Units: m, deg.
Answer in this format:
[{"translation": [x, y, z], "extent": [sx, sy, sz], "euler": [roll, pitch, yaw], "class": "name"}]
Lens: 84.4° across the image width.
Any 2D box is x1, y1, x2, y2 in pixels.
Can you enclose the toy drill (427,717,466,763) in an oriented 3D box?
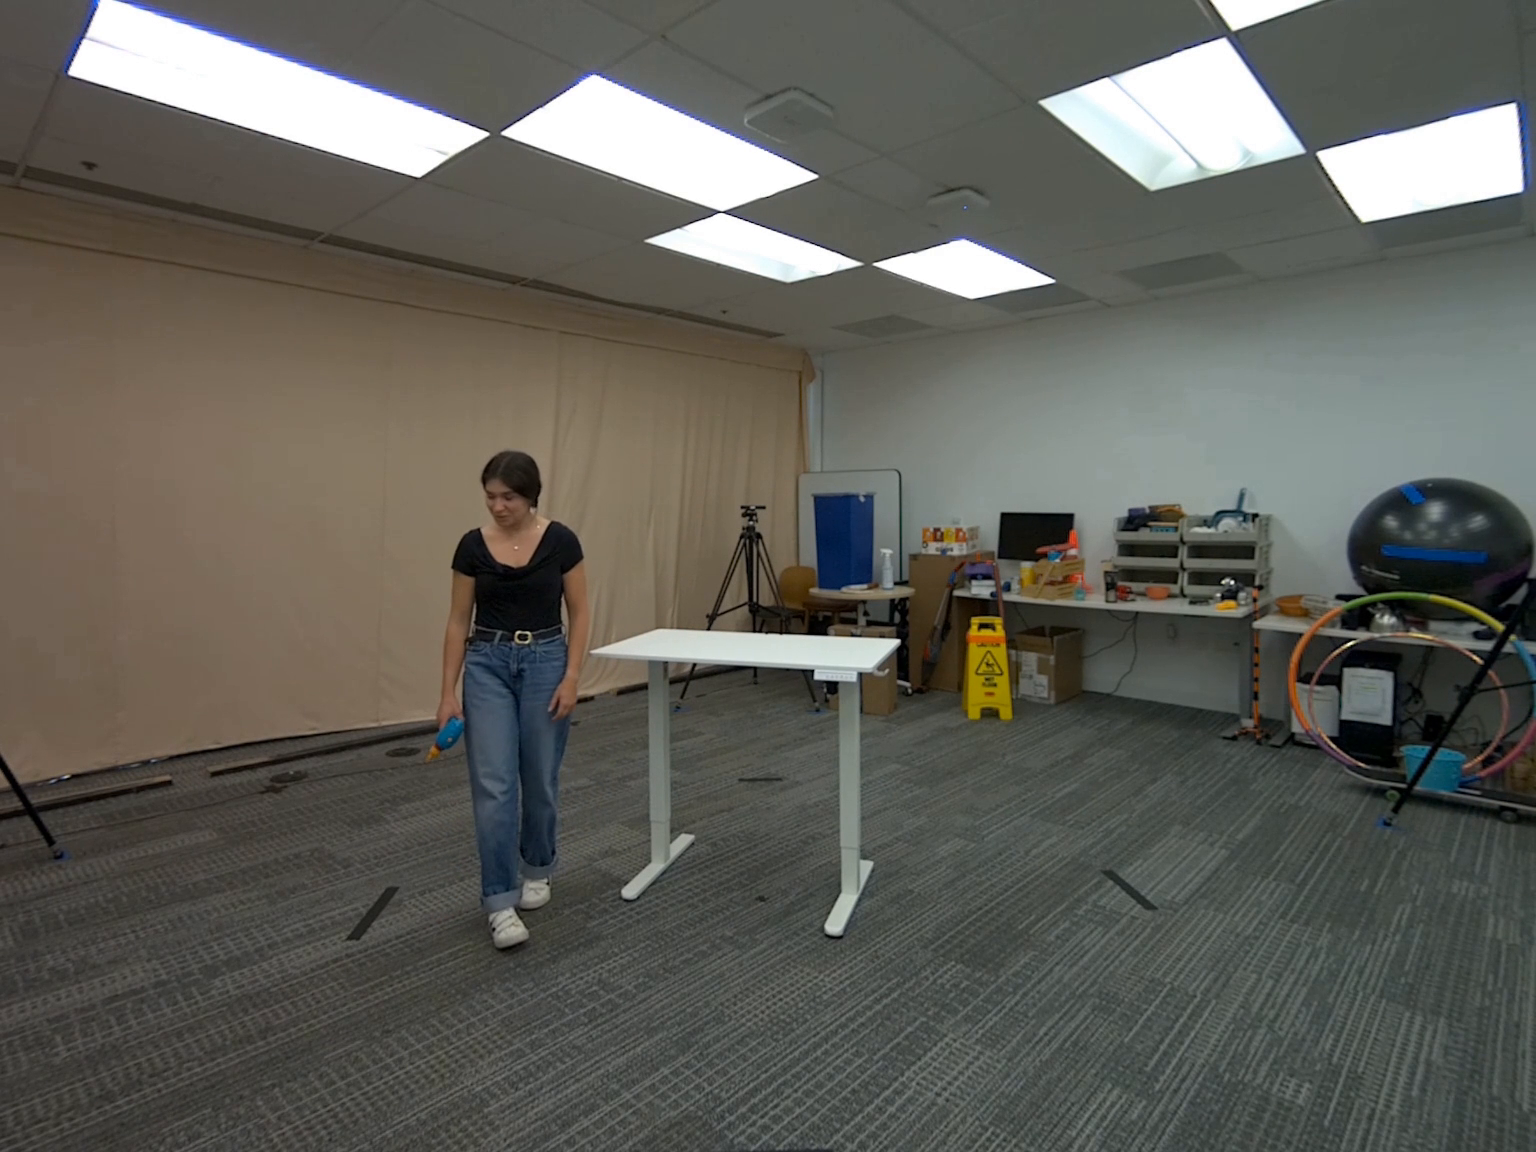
[{"translation": [-1.031, 0.509, 2.711], "extent": [0.059, 0.170, 0.150], "euler": [41, -1, -26], "class": "toy drill"}]
